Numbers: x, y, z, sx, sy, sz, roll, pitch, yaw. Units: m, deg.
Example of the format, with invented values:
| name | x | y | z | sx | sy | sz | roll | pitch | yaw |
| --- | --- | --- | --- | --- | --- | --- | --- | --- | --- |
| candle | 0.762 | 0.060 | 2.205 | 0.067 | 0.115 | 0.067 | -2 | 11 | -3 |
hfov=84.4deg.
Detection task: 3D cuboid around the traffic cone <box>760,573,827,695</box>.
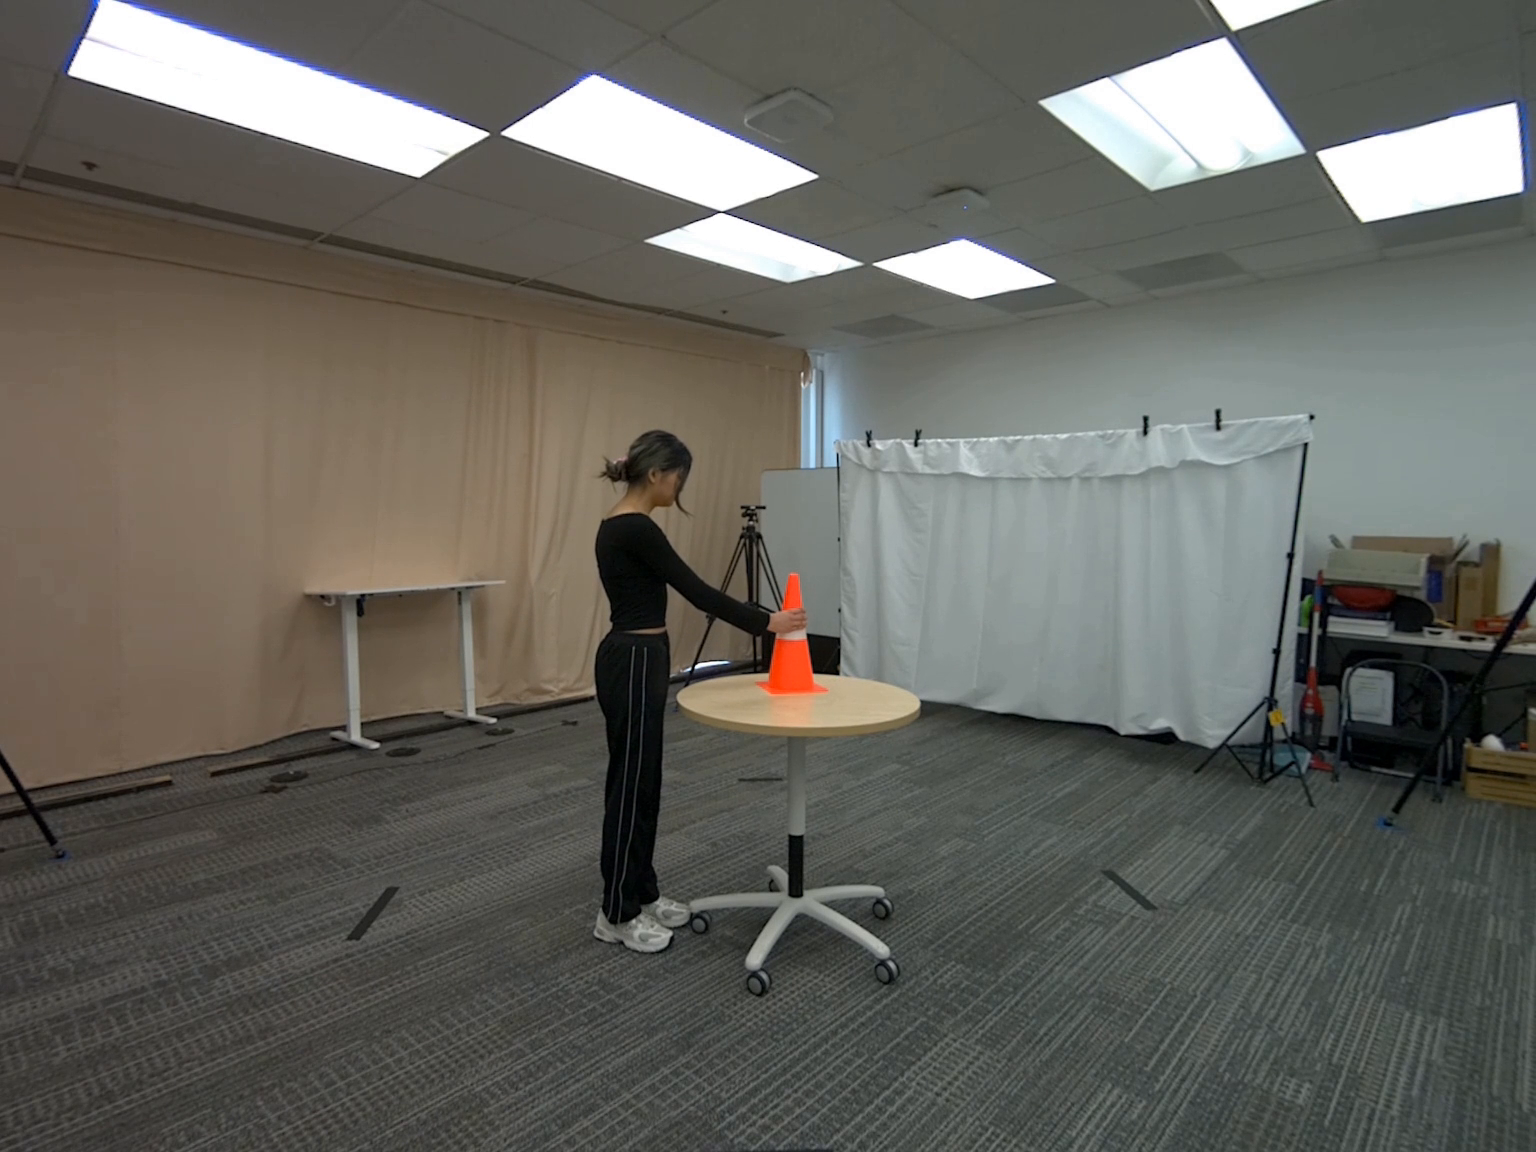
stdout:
| name | x | y | z | sx | sy | sz | roll | pitch | yaw |
| --- | --- | --- | --- | --- | --- | --- | --- | --- | --- |
| traffic cone | 0.082 | 0.187 | 2.803 | 0.200 | 0.383 | 0.209 | 0 | 4 | -17 |
